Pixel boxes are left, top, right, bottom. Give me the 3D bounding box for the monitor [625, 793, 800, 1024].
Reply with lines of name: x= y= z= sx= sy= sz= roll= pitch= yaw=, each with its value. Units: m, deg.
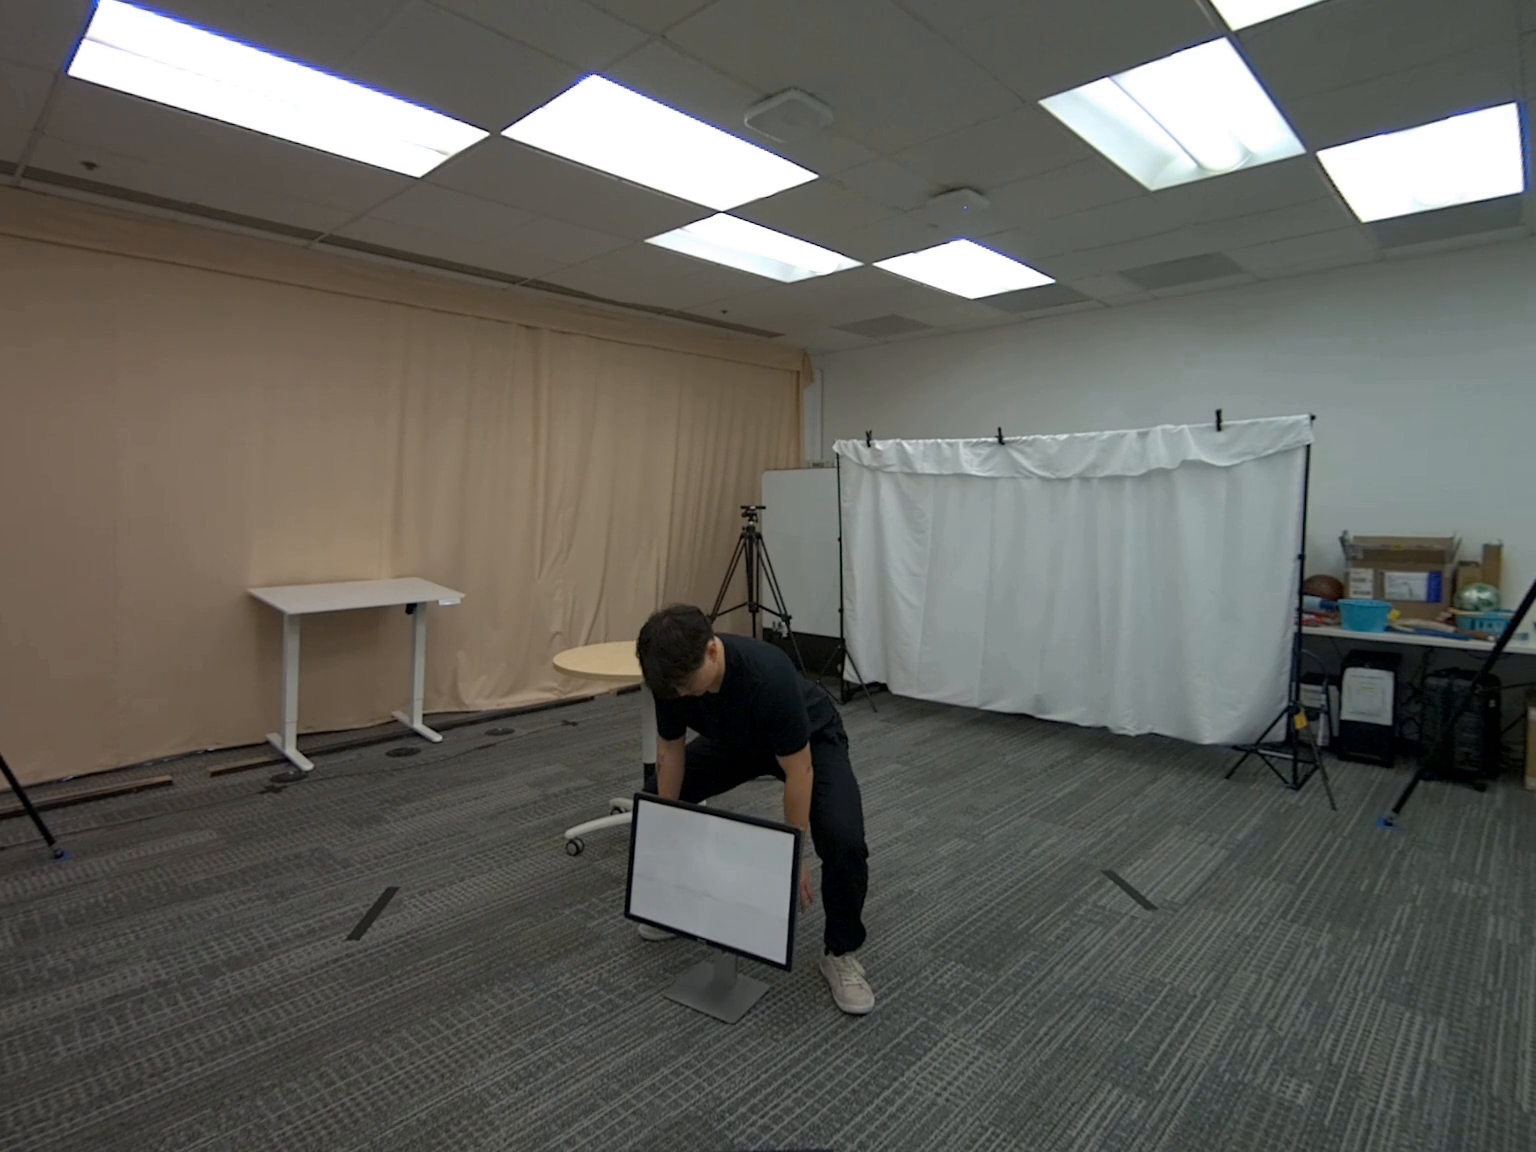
monitor: x=-0.140 y=0.934 z=2.386 sx=0.554 sy=0.521 sz=0.182 roll=1 pitch=5 yaw=29
